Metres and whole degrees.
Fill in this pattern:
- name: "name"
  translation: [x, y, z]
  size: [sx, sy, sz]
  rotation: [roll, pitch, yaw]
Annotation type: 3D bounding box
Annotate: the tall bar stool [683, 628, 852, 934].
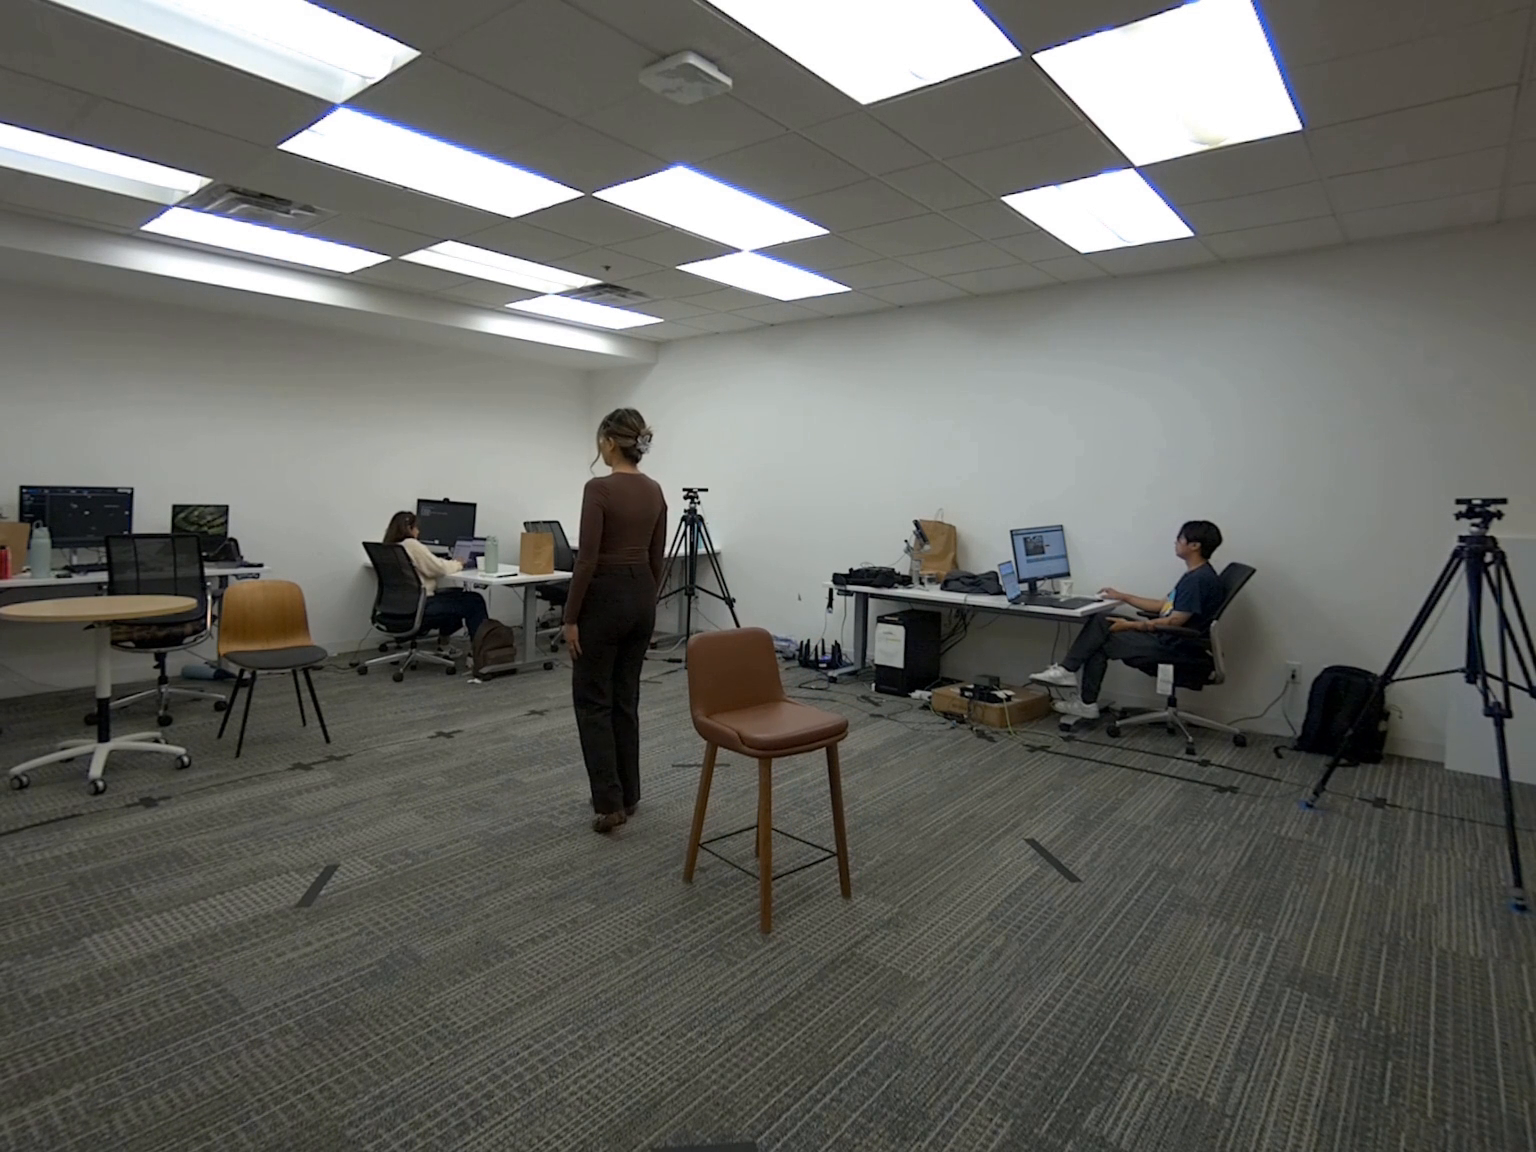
- name: "tall bar stool"
  translation: [-0.015, 0.653, 2.944]
  size: [0.442, 0.889, 0.483]
  rotation: [-1, 2, -42]
